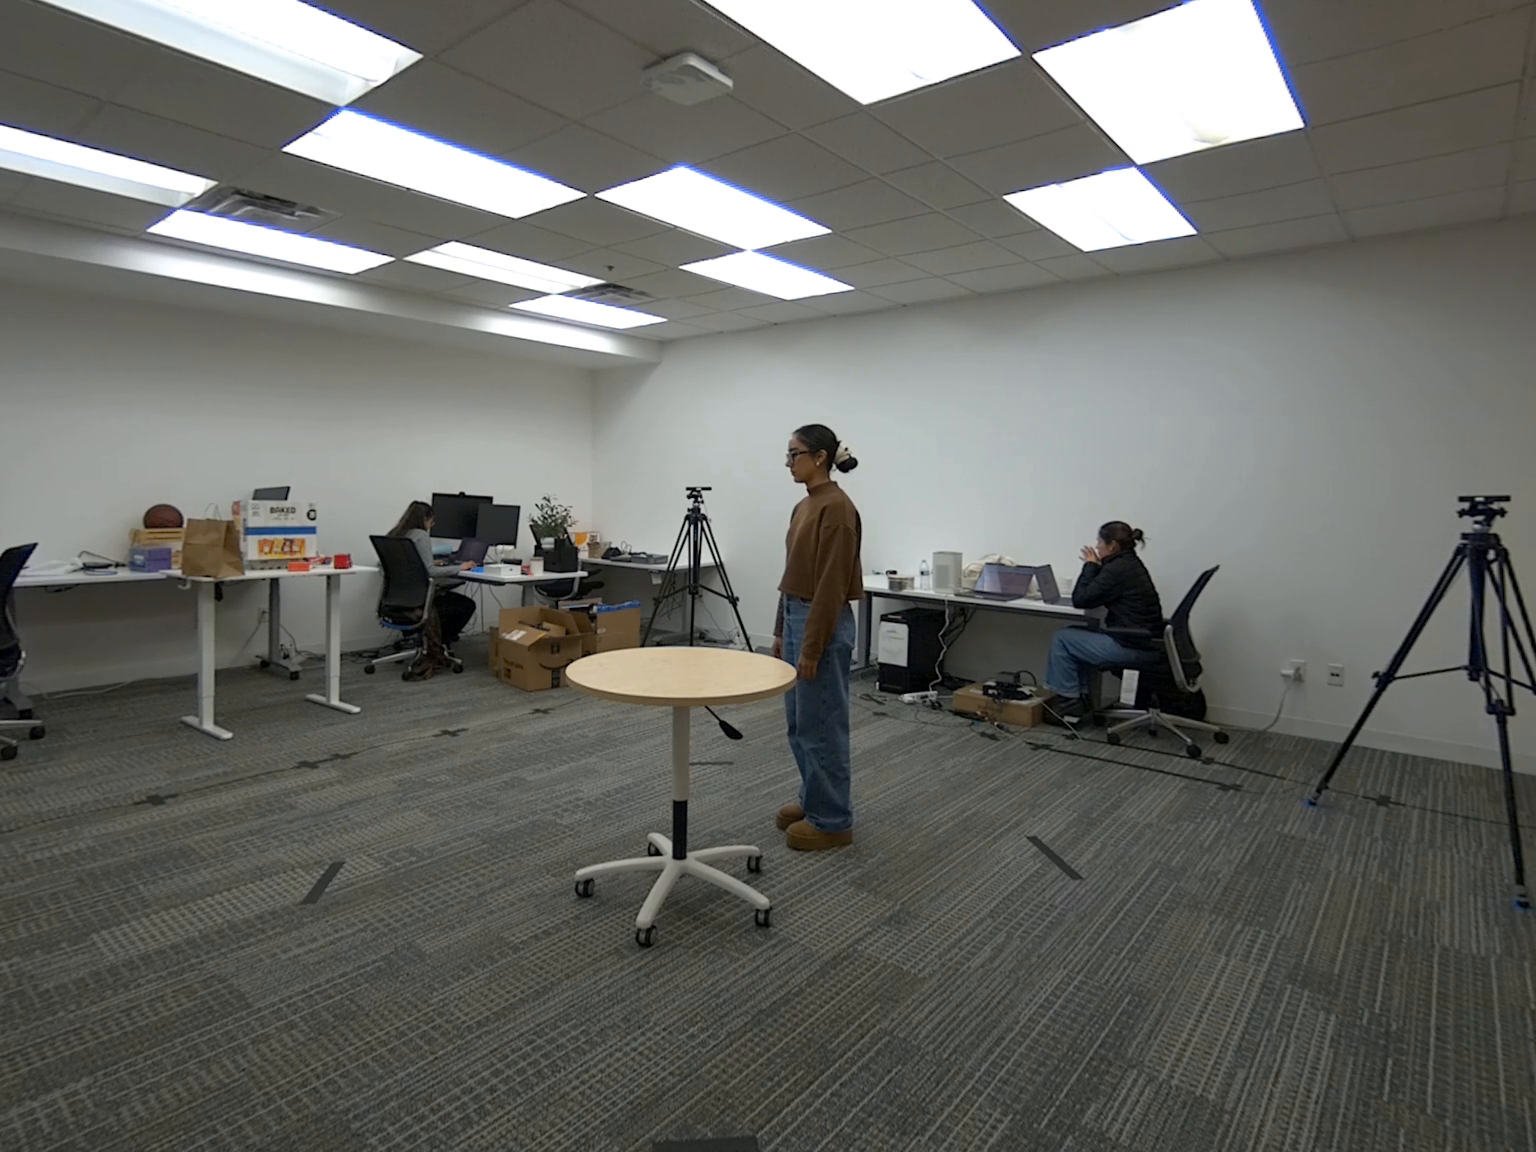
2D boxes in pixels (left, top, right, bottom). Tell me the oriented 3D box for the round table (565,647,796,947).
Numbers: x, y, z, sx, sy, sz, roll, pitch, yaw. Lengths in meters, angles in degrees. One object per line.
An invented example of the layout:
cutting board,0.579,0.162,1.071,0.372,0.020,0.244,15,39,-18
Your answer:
round table,-0.307,0.695,2.875,0.784,0.783,0.790,1,5,-2
